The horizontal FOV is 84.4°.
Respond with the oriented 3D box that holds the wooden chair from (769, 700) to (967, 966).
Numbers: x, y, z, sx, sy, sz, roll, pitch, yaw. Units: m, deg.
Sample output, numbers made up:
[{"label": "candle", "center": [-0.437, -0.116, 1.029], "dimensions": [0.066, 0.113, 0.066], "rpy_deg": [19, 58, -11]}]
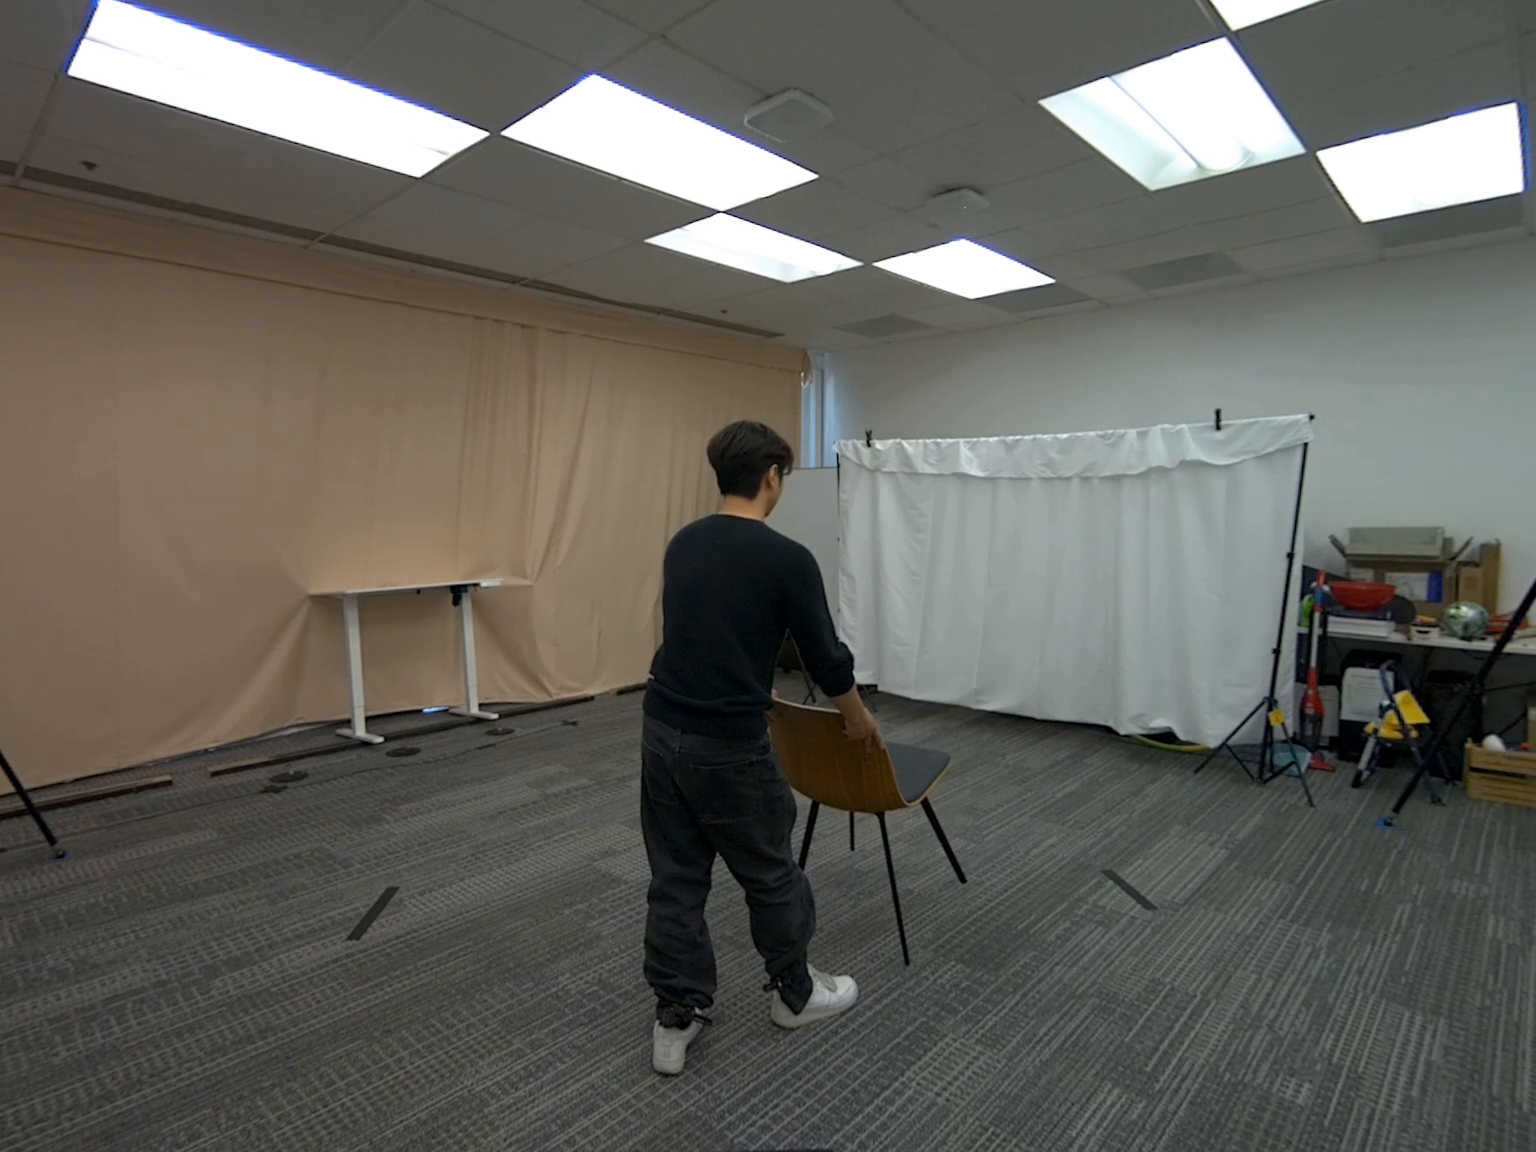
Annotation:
[{"label": "wooden chair", "center": [0.323, 0.695, 2.759], "dimensions": [0.493, 0.866, 0.513], "rpy_deg": [2, 21, 38]}]
